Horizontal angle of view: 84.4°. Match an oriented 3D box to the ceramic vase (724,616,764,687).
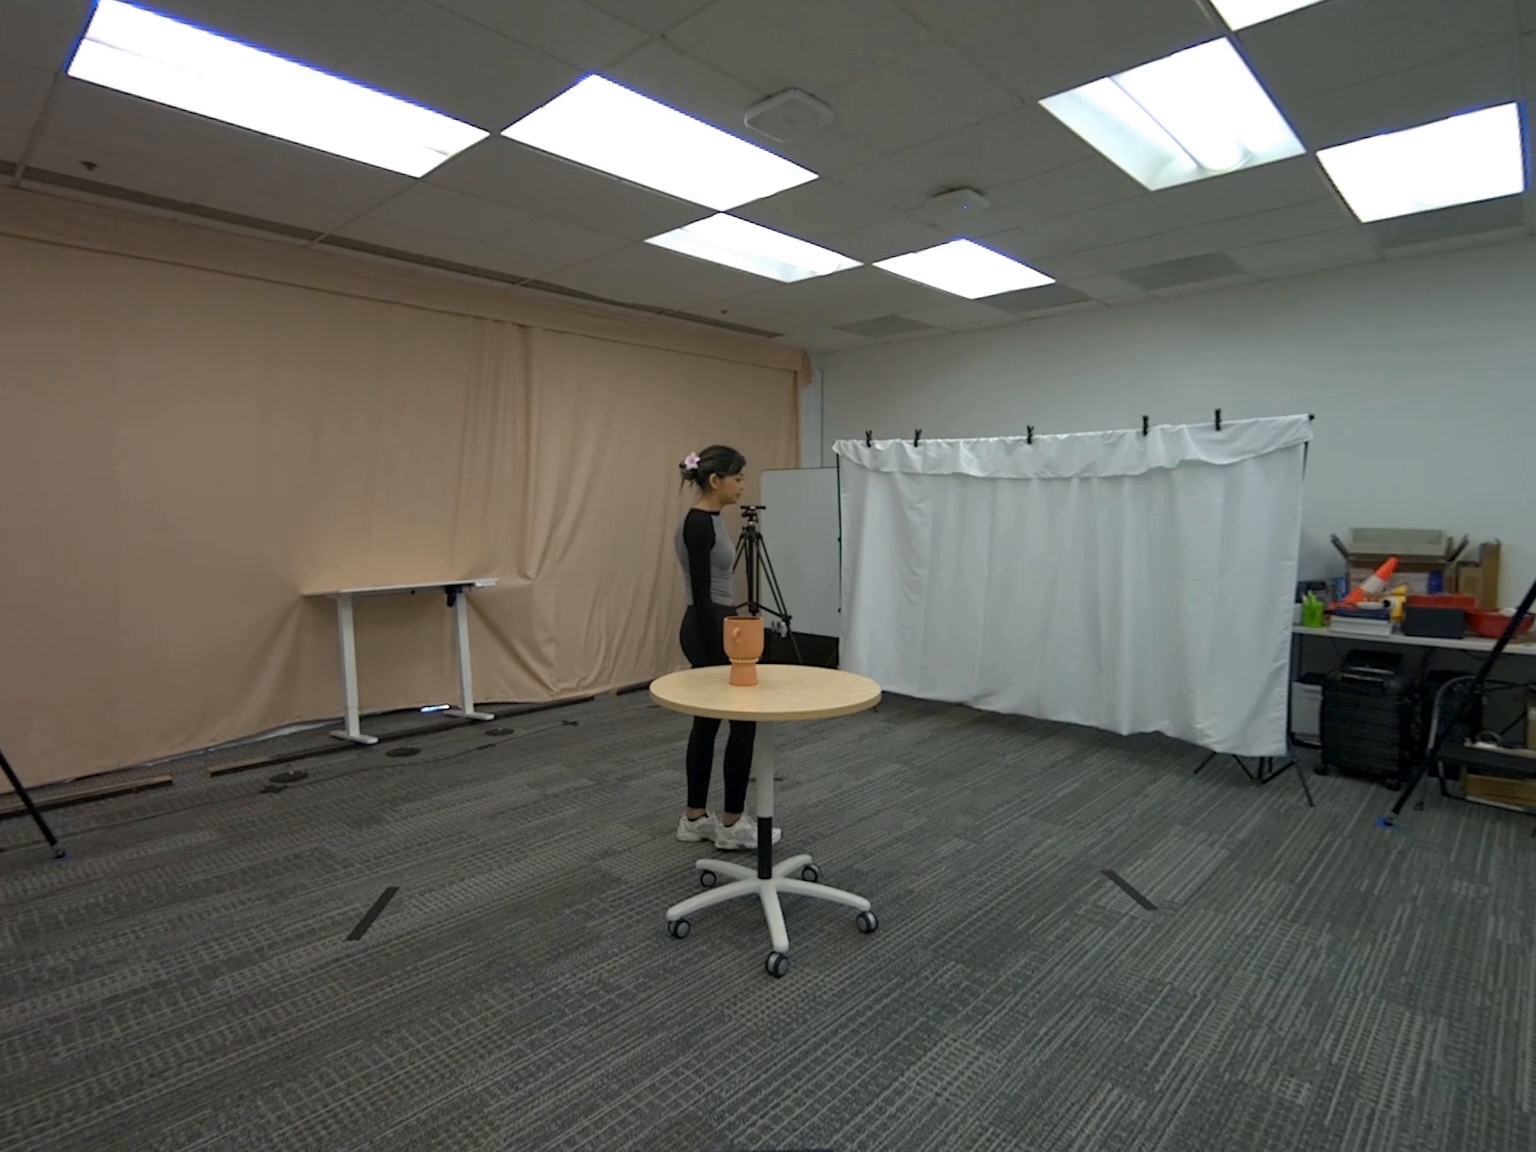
[{"bbox_3d":[-0.078,0.254,2.835,0.154,0.219,0.139,-3,4,-31],"label":"ceramic vase"}]
